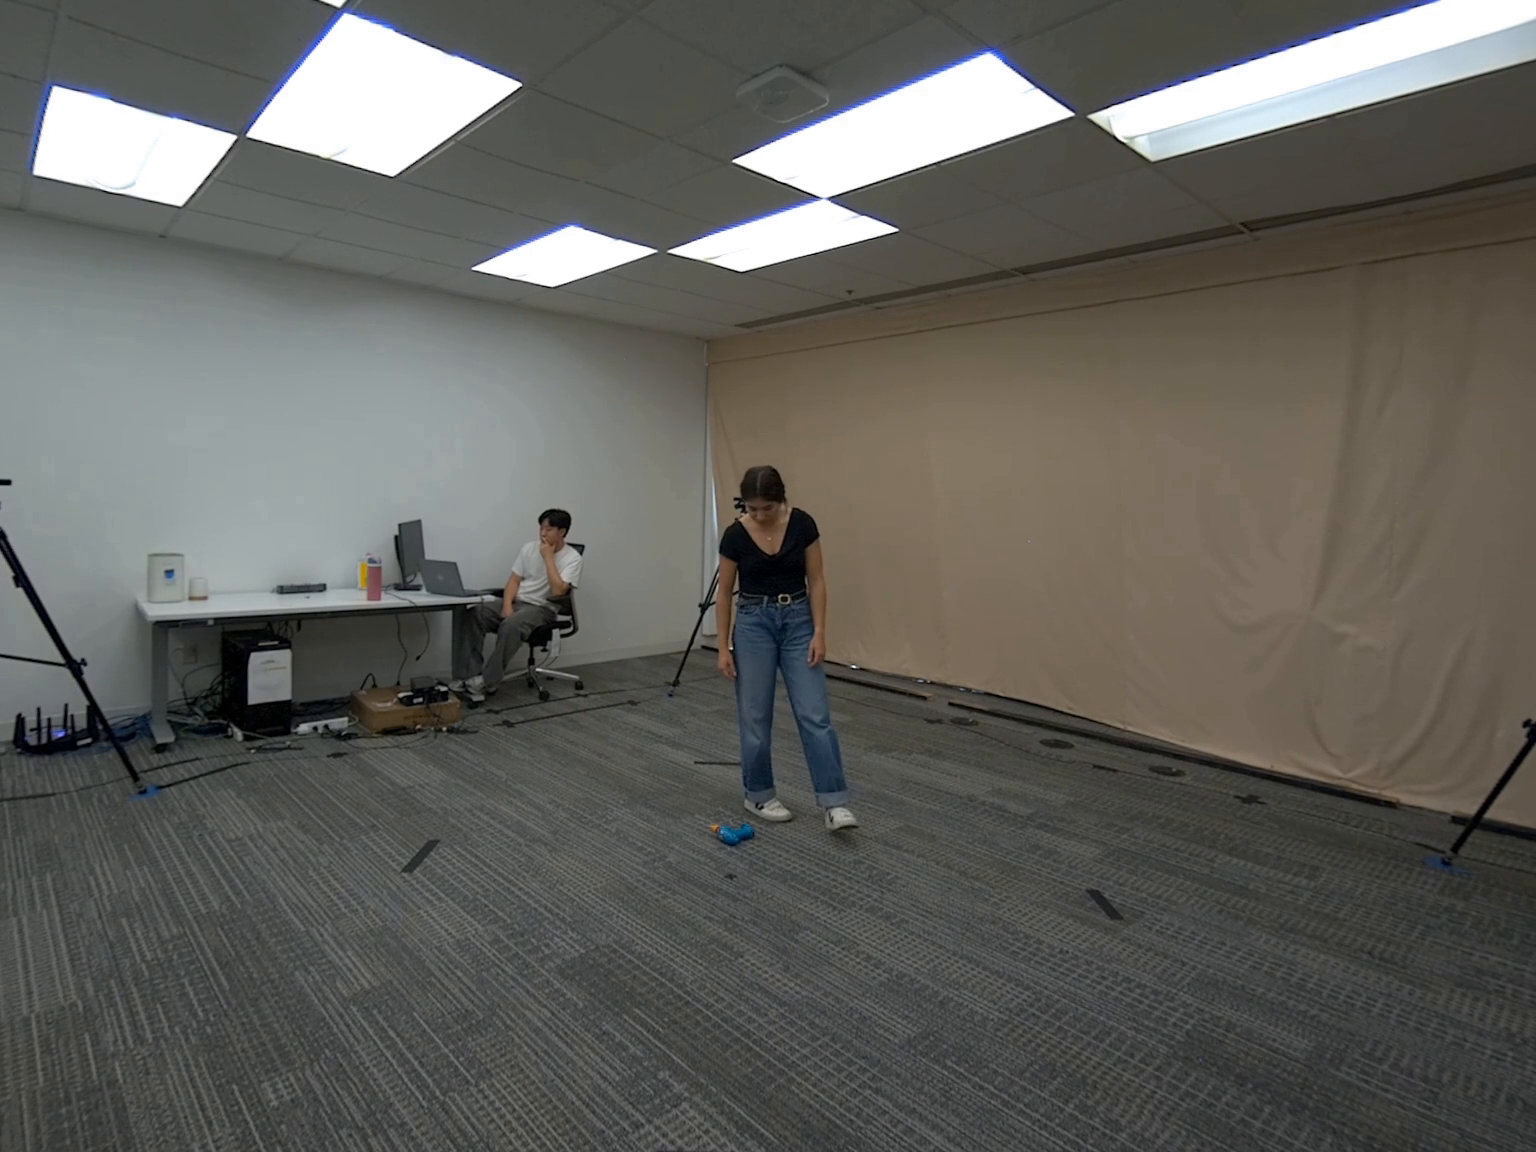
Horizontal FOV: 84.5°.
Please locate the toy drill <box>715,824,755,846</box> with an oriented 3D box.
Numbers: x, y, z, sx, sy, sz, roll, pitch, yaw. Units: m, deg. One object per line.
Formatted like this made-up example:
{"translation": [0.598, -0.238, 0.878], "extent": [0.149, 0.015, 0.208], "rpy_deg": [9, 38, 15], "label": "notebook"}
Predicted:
{"translation": [-0.166, 1.055, 3.449], "extent": [0.174, 0.061, 0.142], "rpy_deg": [11, 8, 41], "label": "toy drill"}
